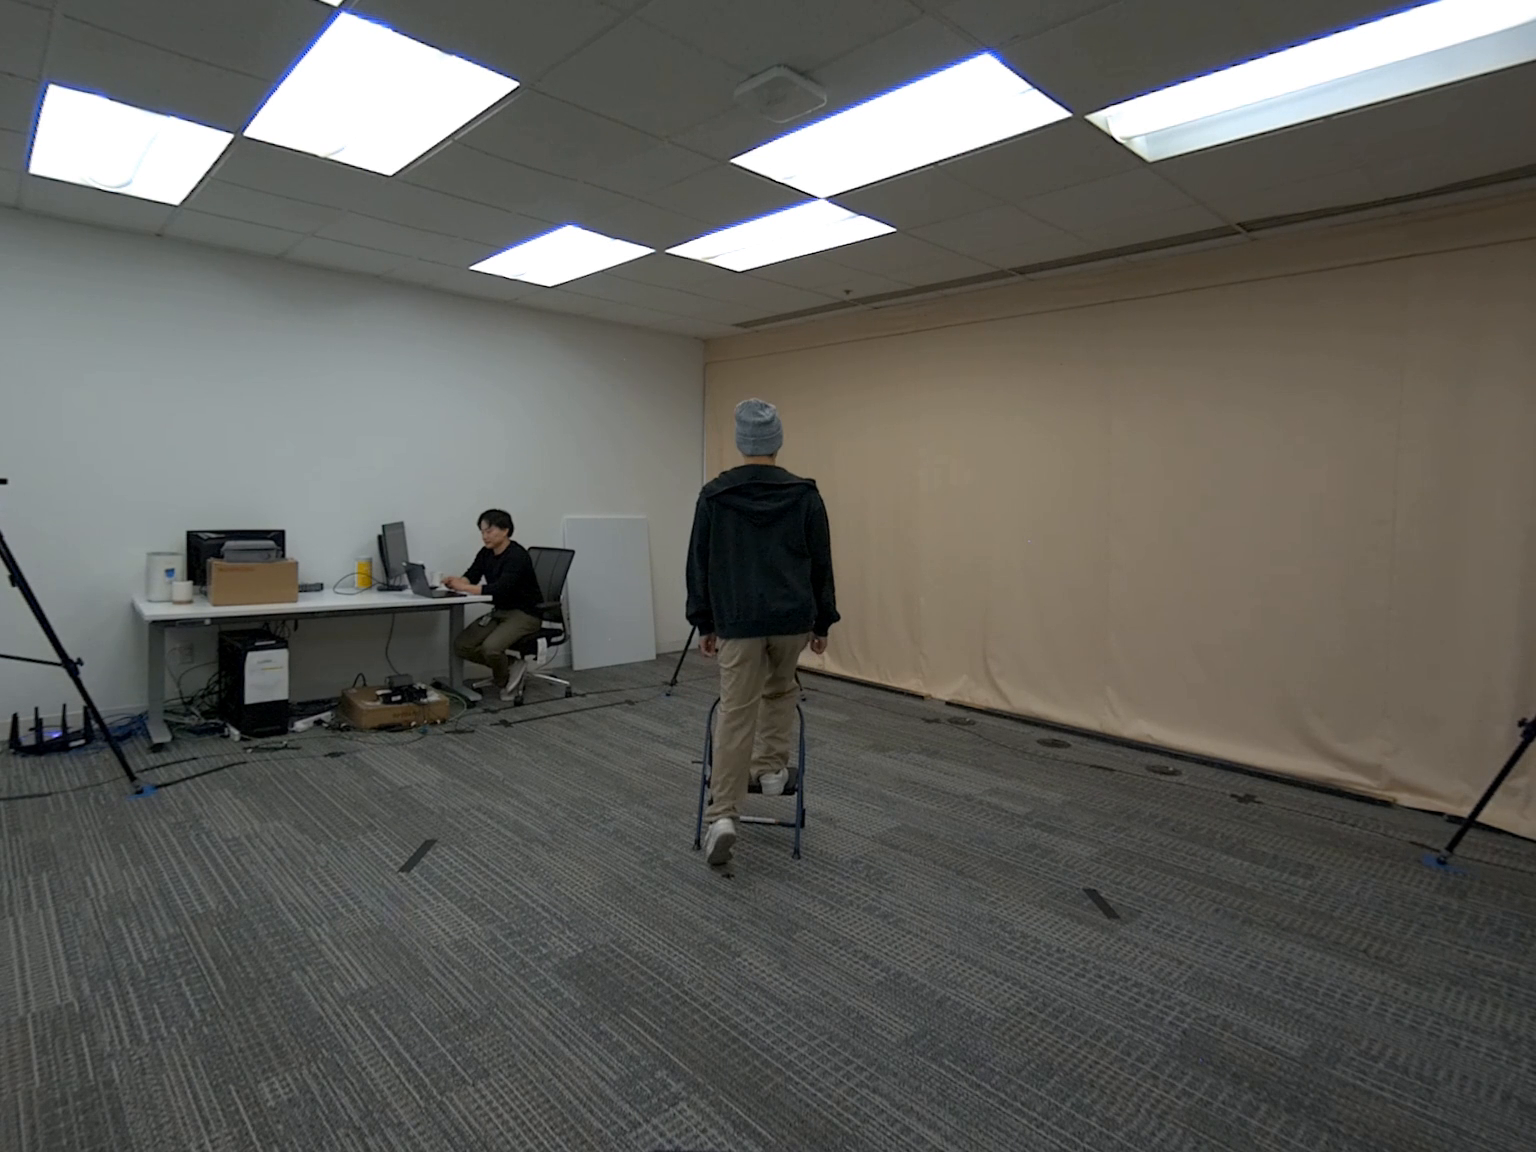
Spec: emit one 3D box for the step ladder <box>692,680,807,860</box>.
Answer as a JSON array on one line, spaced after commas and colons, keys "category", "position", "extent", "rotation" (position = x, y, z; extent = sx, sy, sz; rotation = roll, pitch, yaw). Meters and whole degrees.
[{"category": "step ladder", "position": [-0.066, 0.784, 3.456], "extent": [0.433, 0.604, 0.348], "rotation": [2, 4, 7]}]
